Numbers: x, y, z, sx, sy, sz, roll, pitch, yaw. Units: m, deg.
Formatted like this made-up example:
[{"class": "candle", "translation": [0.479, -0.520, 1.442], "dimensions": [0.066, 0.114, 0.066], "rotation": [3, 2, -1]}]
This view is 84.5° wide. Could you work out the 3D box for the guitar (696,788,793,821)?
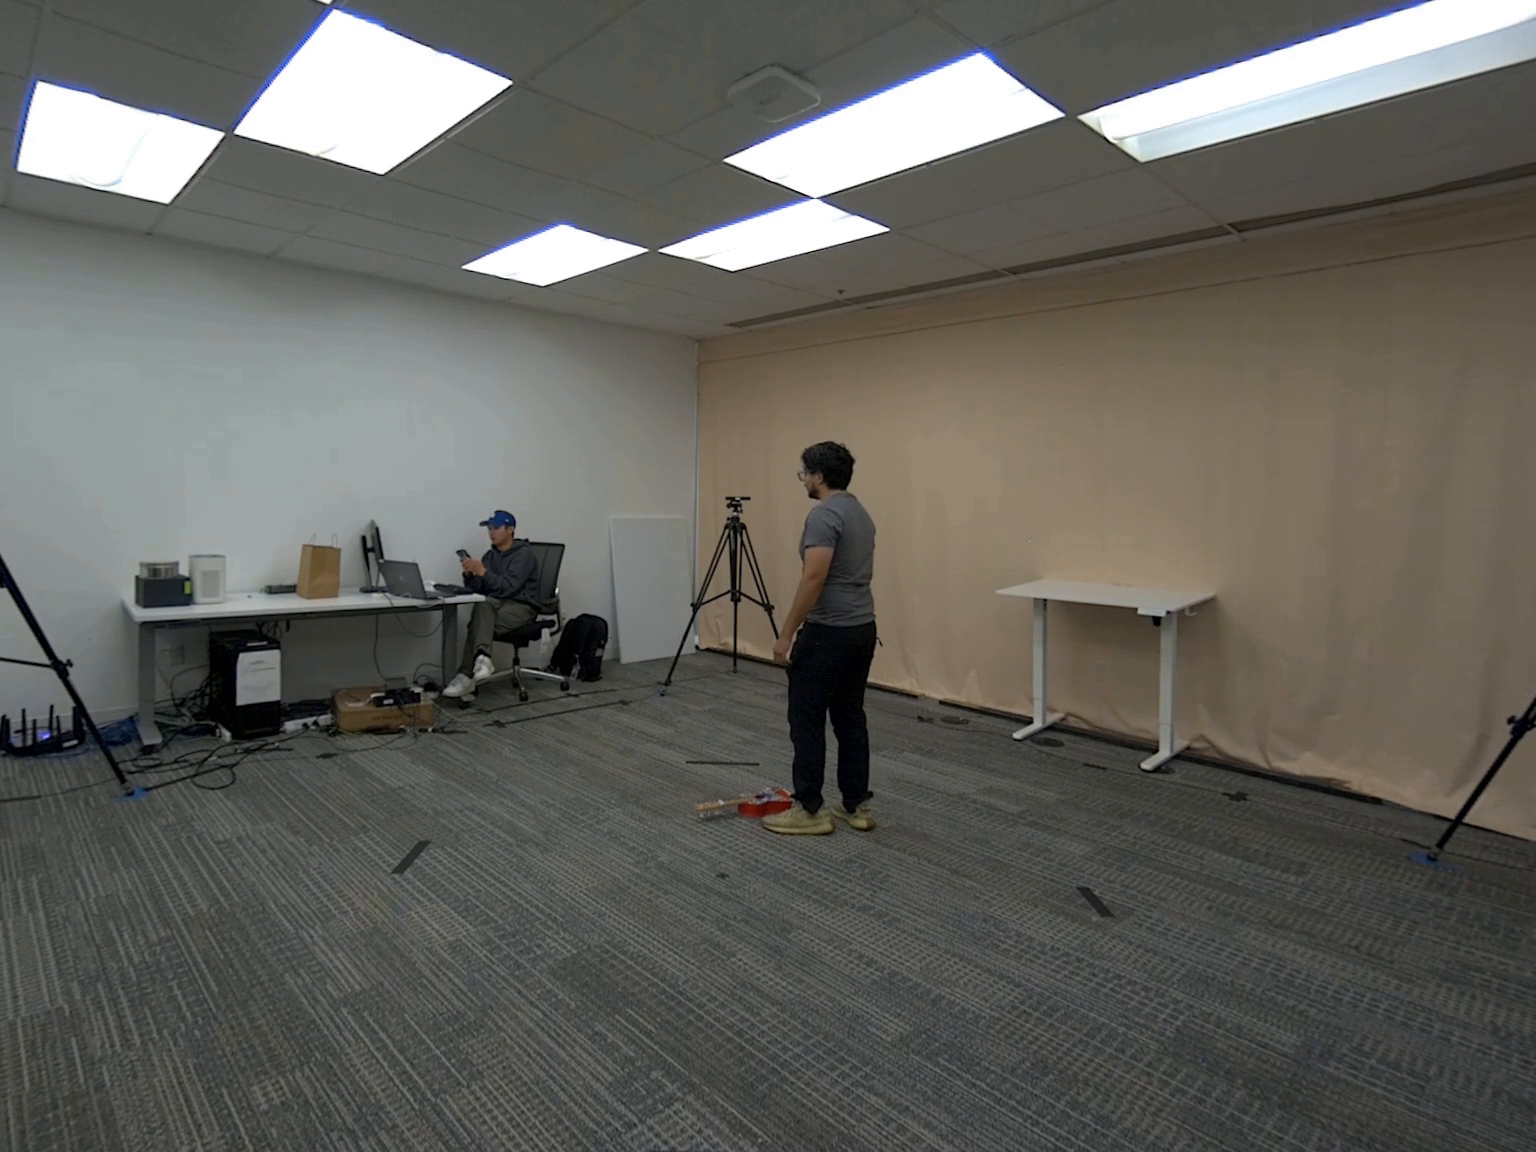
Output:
[{"class": "guitar", "translation": [-0.119, 1.012, 3.769], "dimensions": [0.490, 0.070, 0.196], "rotation": [-1, 5, -21]}]
